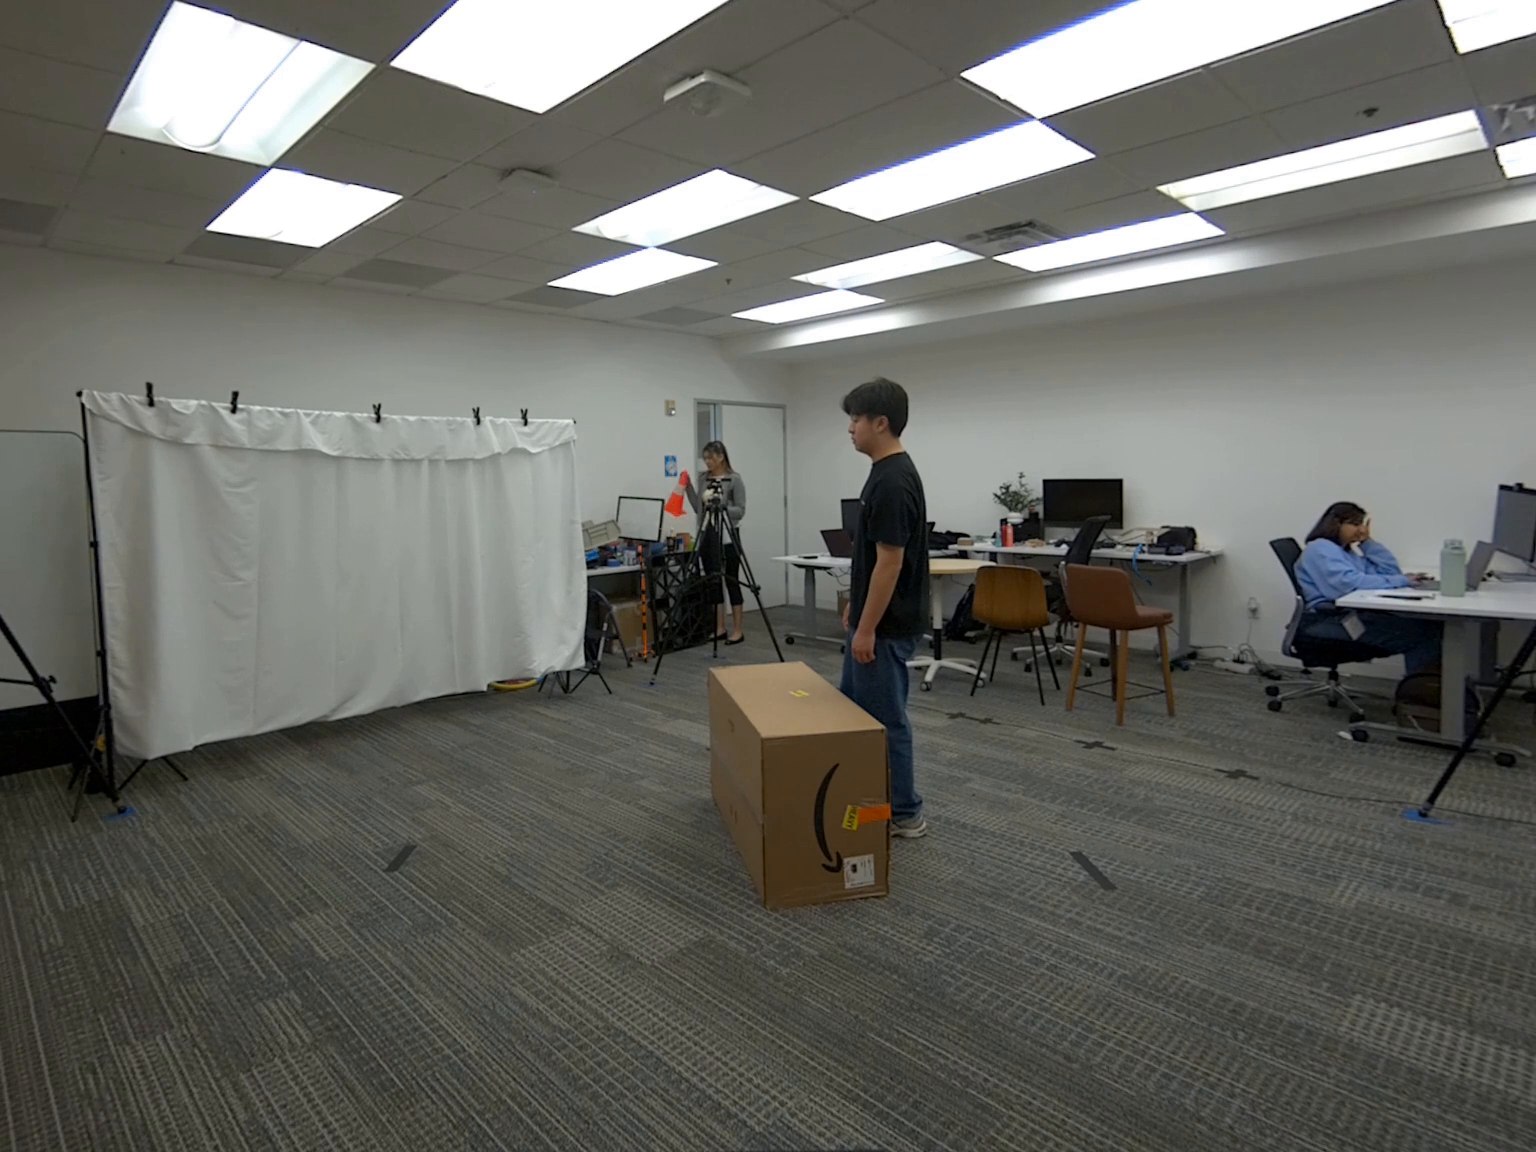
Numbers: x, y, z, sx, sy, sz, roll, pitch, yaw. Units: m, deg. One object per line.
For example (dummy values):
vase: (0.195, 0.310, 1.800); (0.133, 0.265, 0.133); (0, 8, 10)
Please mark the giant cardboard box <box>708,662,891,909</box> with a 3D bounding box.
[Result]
giant cardboard box: (0.072, 0.731, 3.281); (0.441, 0.581, 1.044); (-1, 6, -14)
